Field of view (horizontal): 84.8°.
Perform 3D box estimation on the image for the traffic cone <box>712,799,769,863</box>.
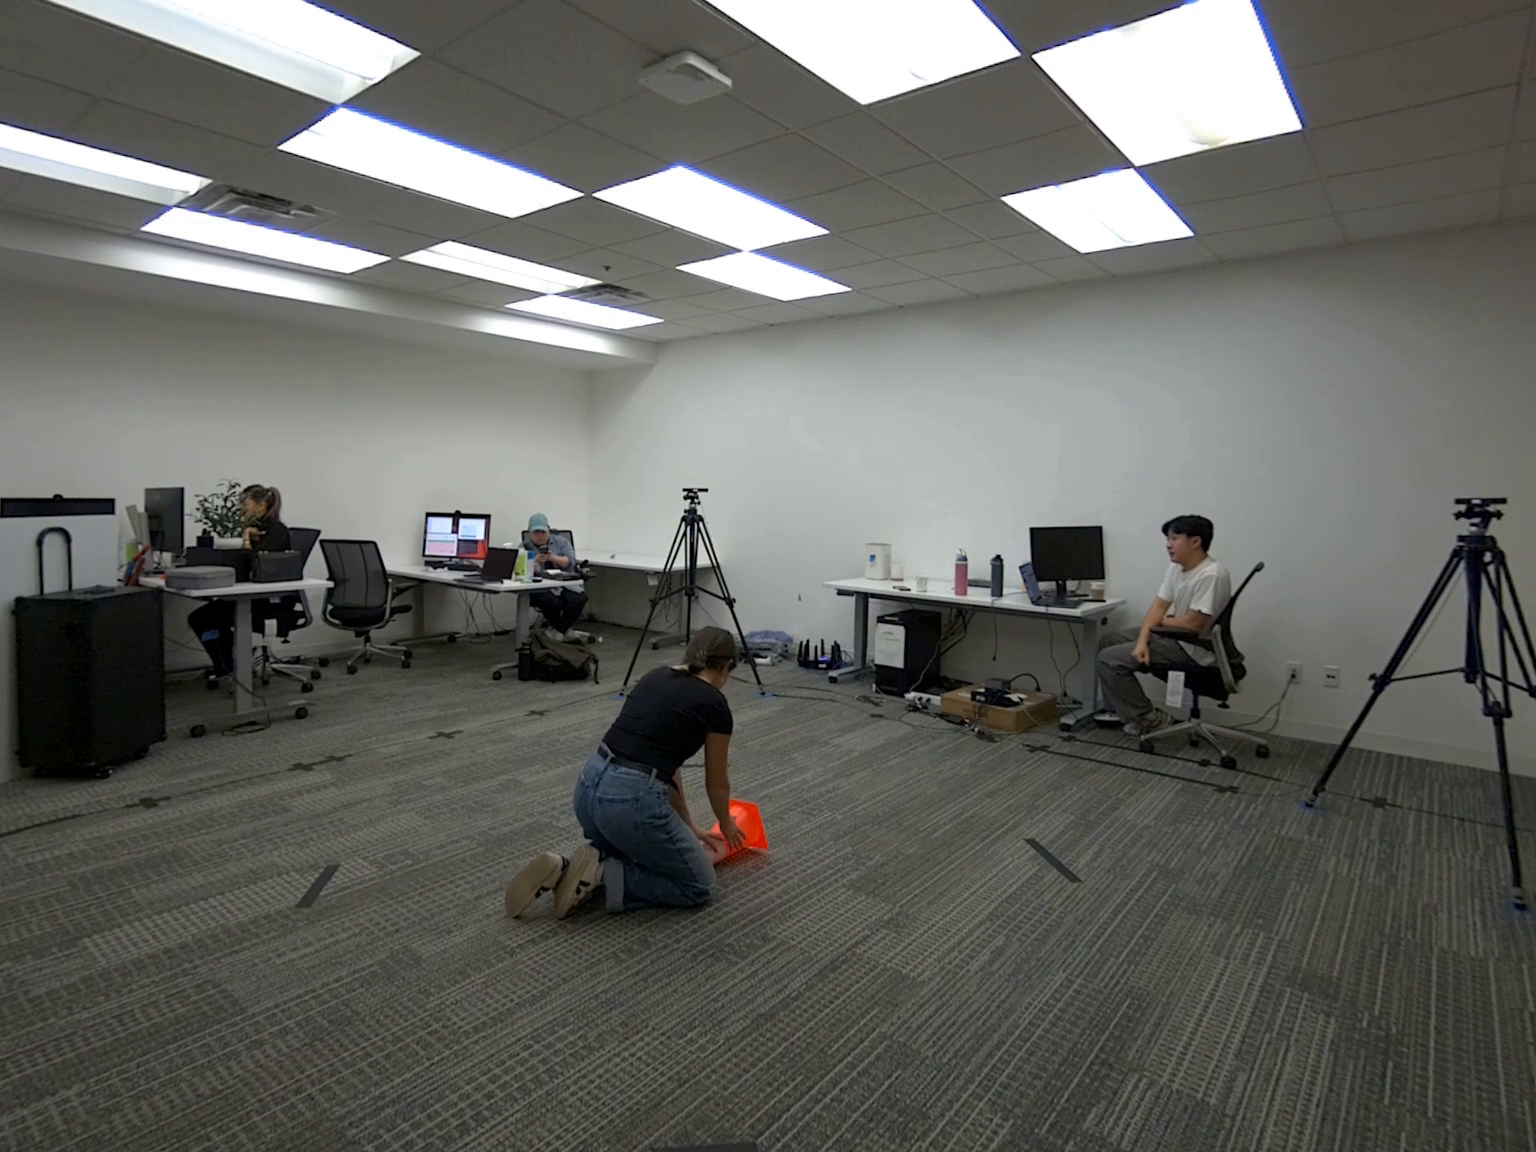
[{"bbox_3d":[-0.202,1.007,3.154,0.209,0.203,0.377,-4,14,41],"label":"traffic cone"}]
